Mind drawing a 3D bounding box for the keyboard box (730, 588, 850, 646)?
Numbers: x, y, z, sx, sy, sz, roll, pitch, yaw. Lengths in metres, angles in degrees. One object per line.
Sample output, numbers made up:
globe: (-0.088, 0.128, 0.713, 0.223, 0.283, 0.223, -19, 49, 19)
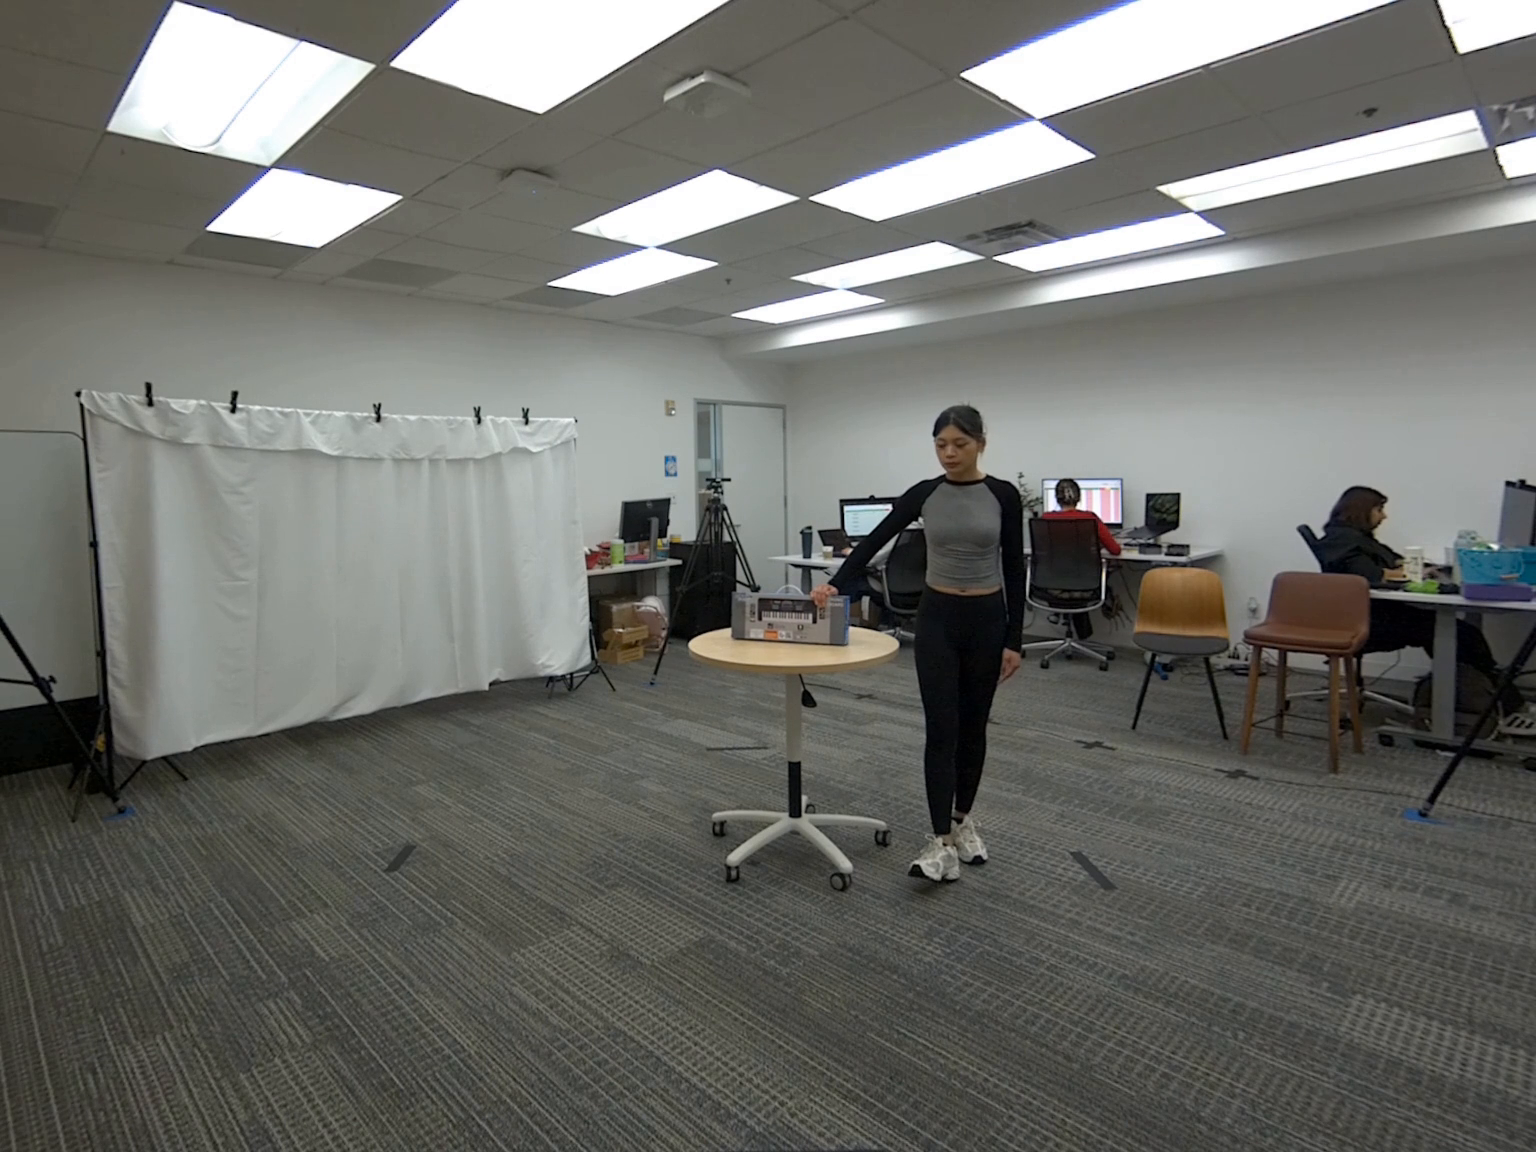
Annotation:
keyboard box: (0.081, 0.153, 3.144, 0.446, 0.176, 0.058, 1, -3, 22)
